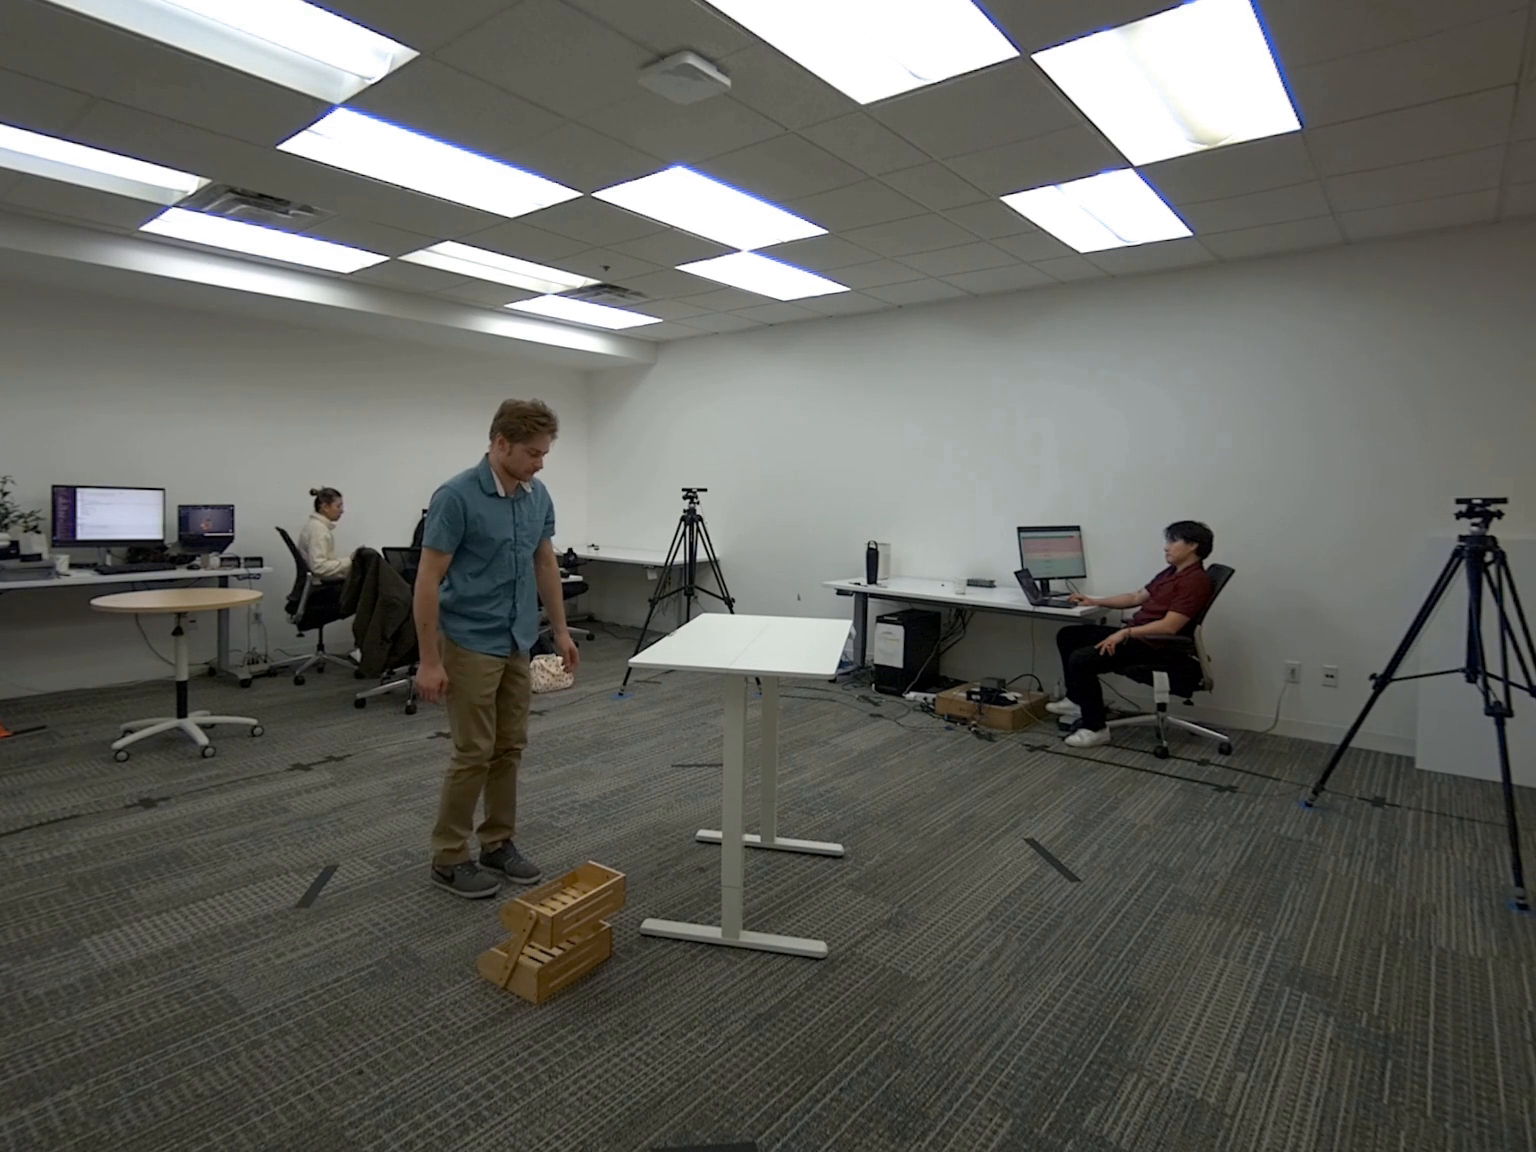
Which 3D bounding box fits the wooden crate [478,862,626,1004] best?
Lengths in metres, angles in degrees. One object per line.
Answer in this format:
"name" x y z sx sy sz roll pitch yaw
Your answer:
"wooden crate" -0.632 0.995 2.448 0.311 0.272 0.315 5 5 33
